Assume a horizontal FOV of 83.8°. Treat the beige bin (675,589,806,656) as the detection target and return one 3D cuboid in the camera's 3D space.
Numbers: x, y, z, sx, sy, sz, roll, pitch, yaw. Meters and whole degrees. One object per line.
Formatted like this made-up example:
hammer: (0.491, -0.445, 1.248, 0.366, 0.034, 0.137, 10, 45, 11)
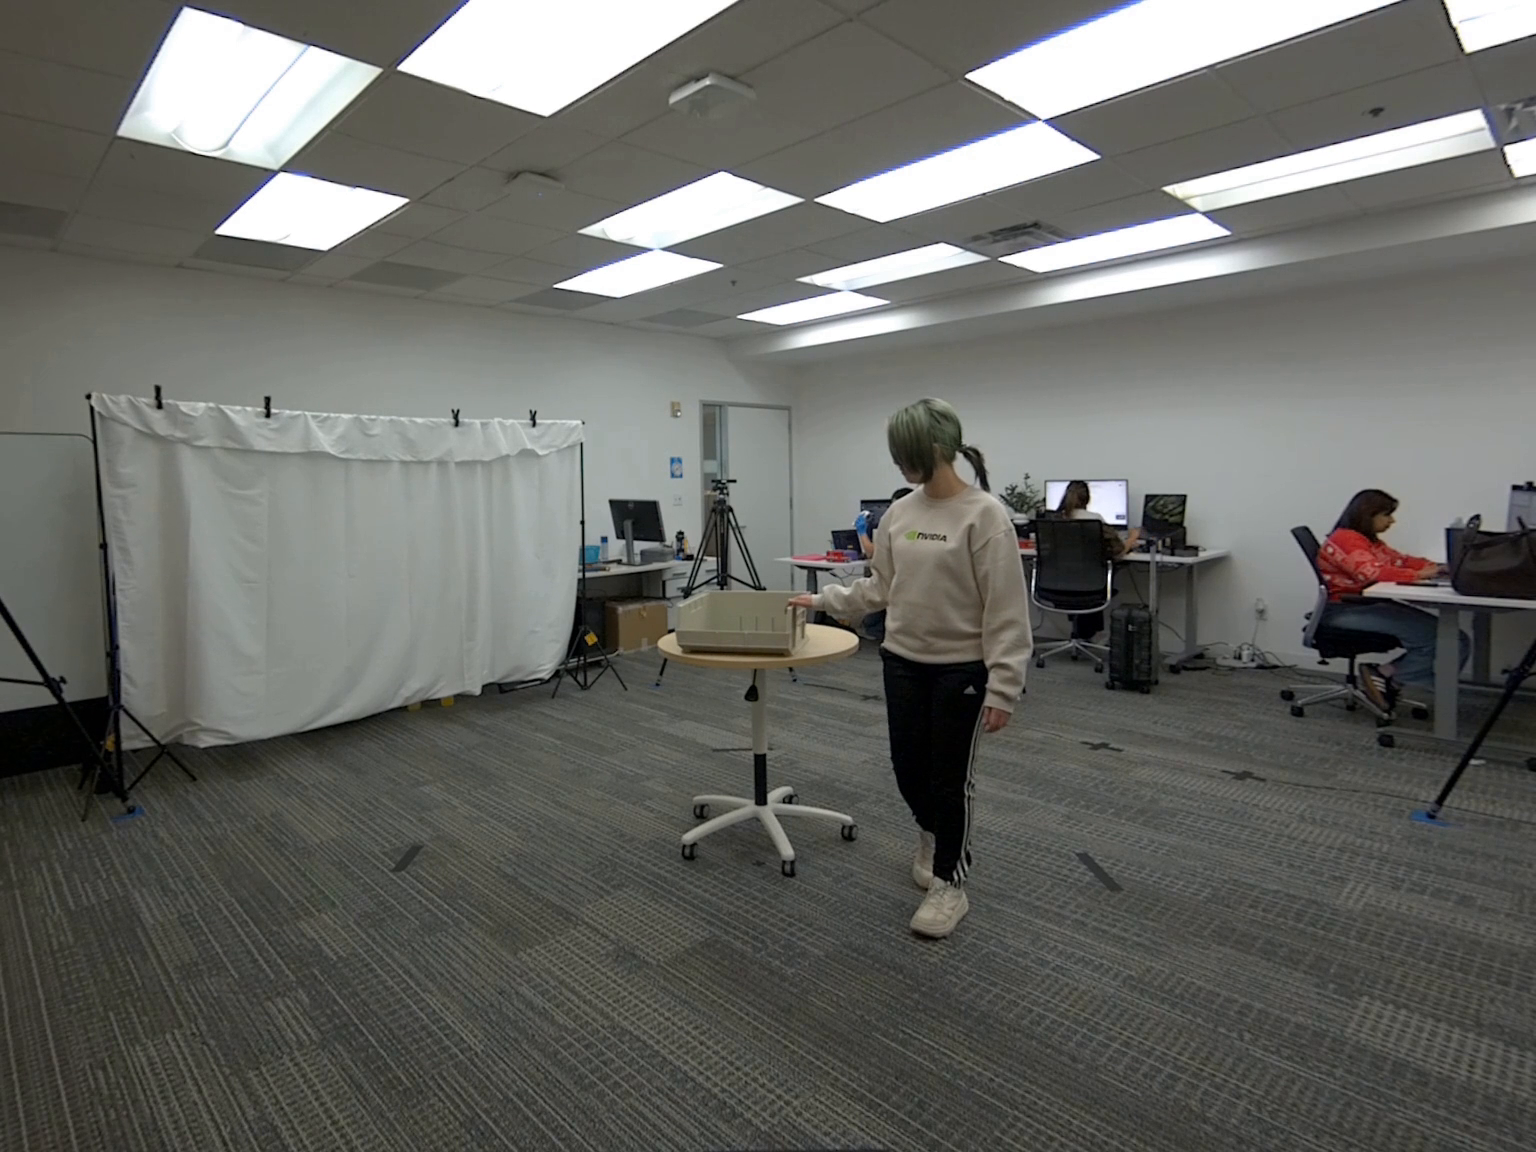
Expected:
beige bin: (-0.082, 0.167, 3.140, 0.429, 0.188, 0.372, 0, 4, 16)
